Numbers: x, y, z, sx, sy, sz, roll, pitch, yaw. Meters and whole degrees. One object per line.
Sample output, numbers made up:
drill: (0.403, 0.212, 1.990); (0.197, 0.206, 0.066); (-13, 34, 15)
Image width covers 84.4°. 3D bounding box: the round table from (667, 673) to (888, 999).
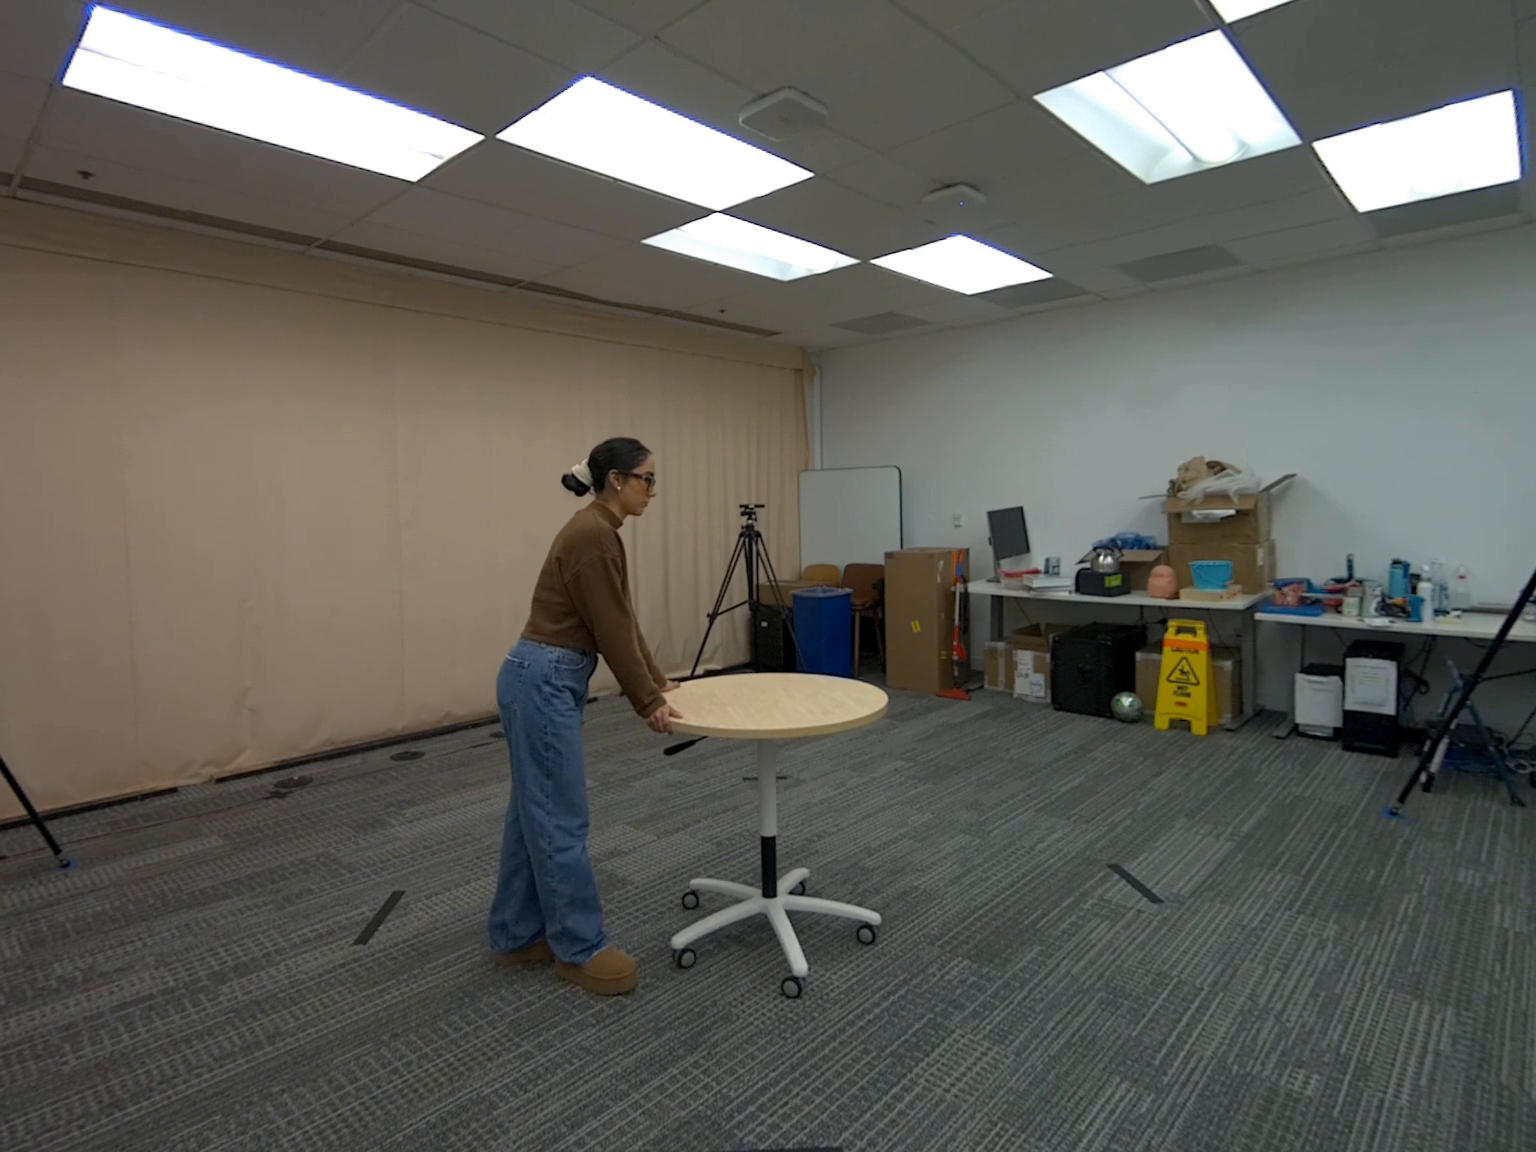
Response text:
round table: (-0.001, 0.777, 2.684); (0.763, 0.792, 0.766); (-1, 3, -2)
